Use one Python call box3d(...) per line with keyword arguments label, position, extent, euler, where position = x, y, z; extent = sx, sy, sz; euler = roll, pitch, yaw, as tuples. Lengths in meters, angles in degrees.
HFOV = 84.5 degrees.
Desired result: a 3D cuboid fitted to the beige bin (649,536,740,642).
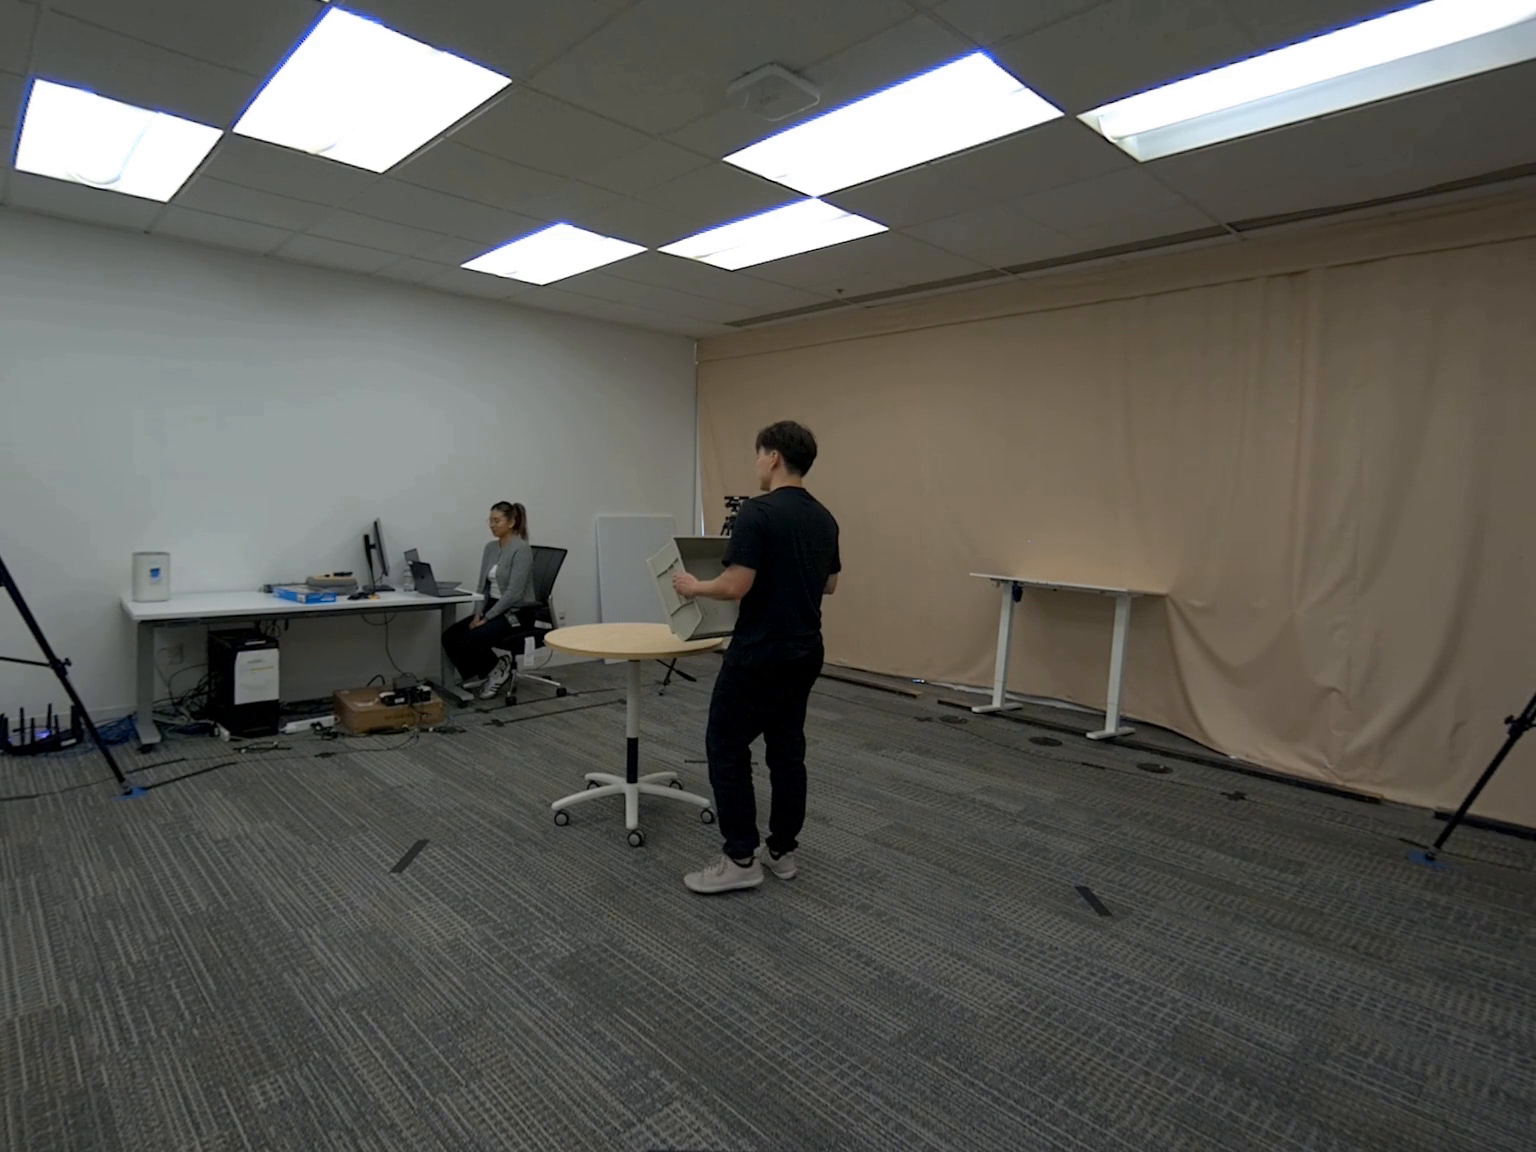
box3d(label="beige bin", position=(-0.225, 0.053, 3.312), extent=(0.412, 0.384, 0.190), euler=(-1, -29, -48))
